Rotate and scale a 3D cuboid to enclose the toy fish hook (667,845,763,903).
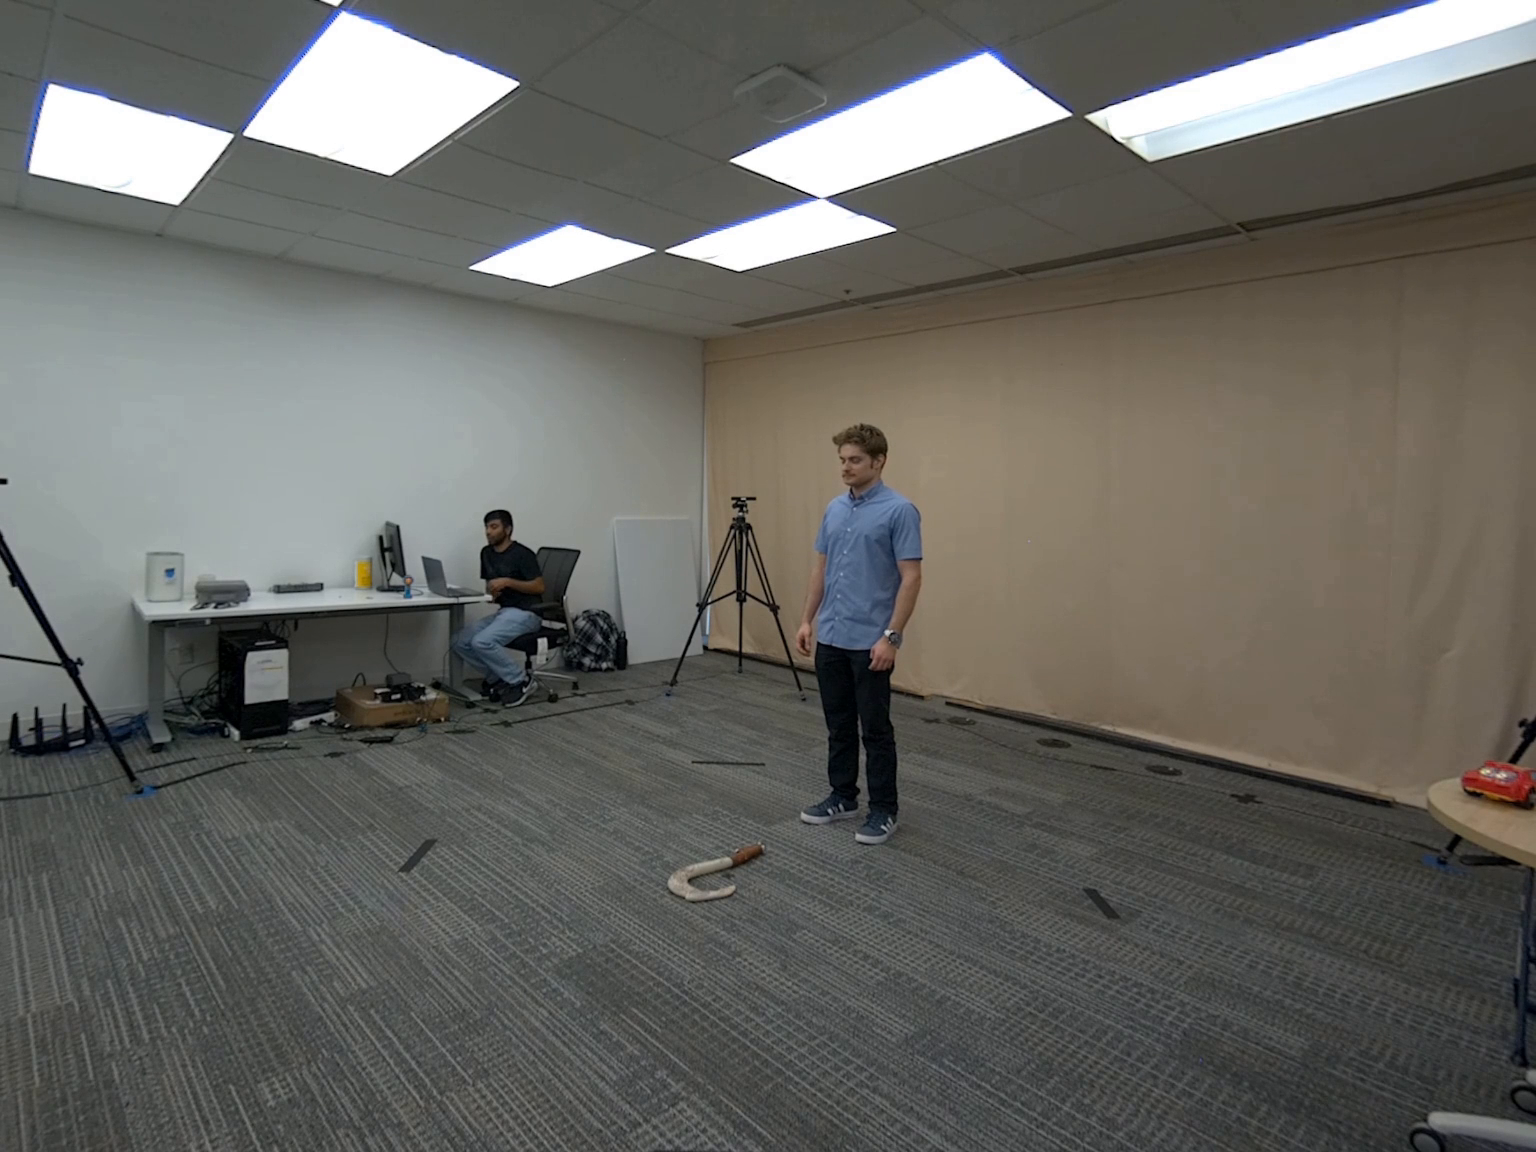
[{"bbox_3d":[-0.150,1.091,3.102,0.231,0.048,0.495,16,15,40],"label":"toy fish hook"}]
